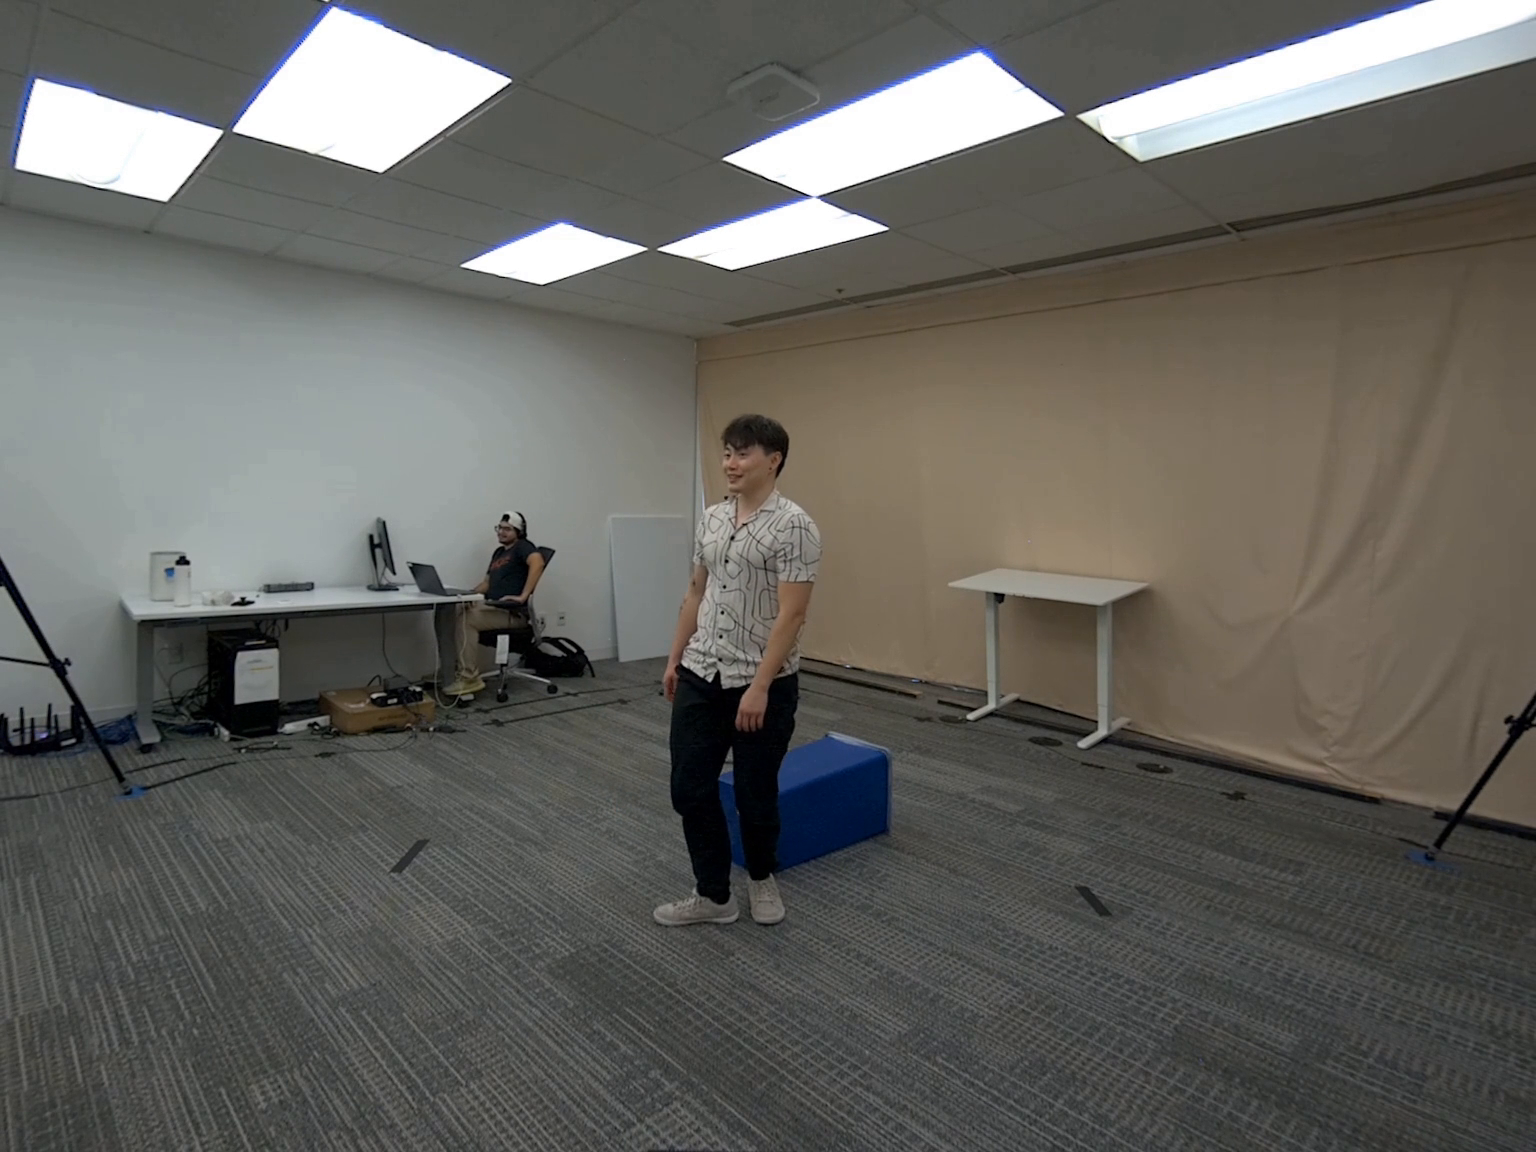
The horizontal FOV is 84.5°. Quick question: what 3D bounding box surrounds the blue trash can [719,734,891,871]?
[{"bbox_3d":[0.123,0.910,3.410,0.698,0.377,0.384,-5,7,-41],"label":"blue trash can"}]
